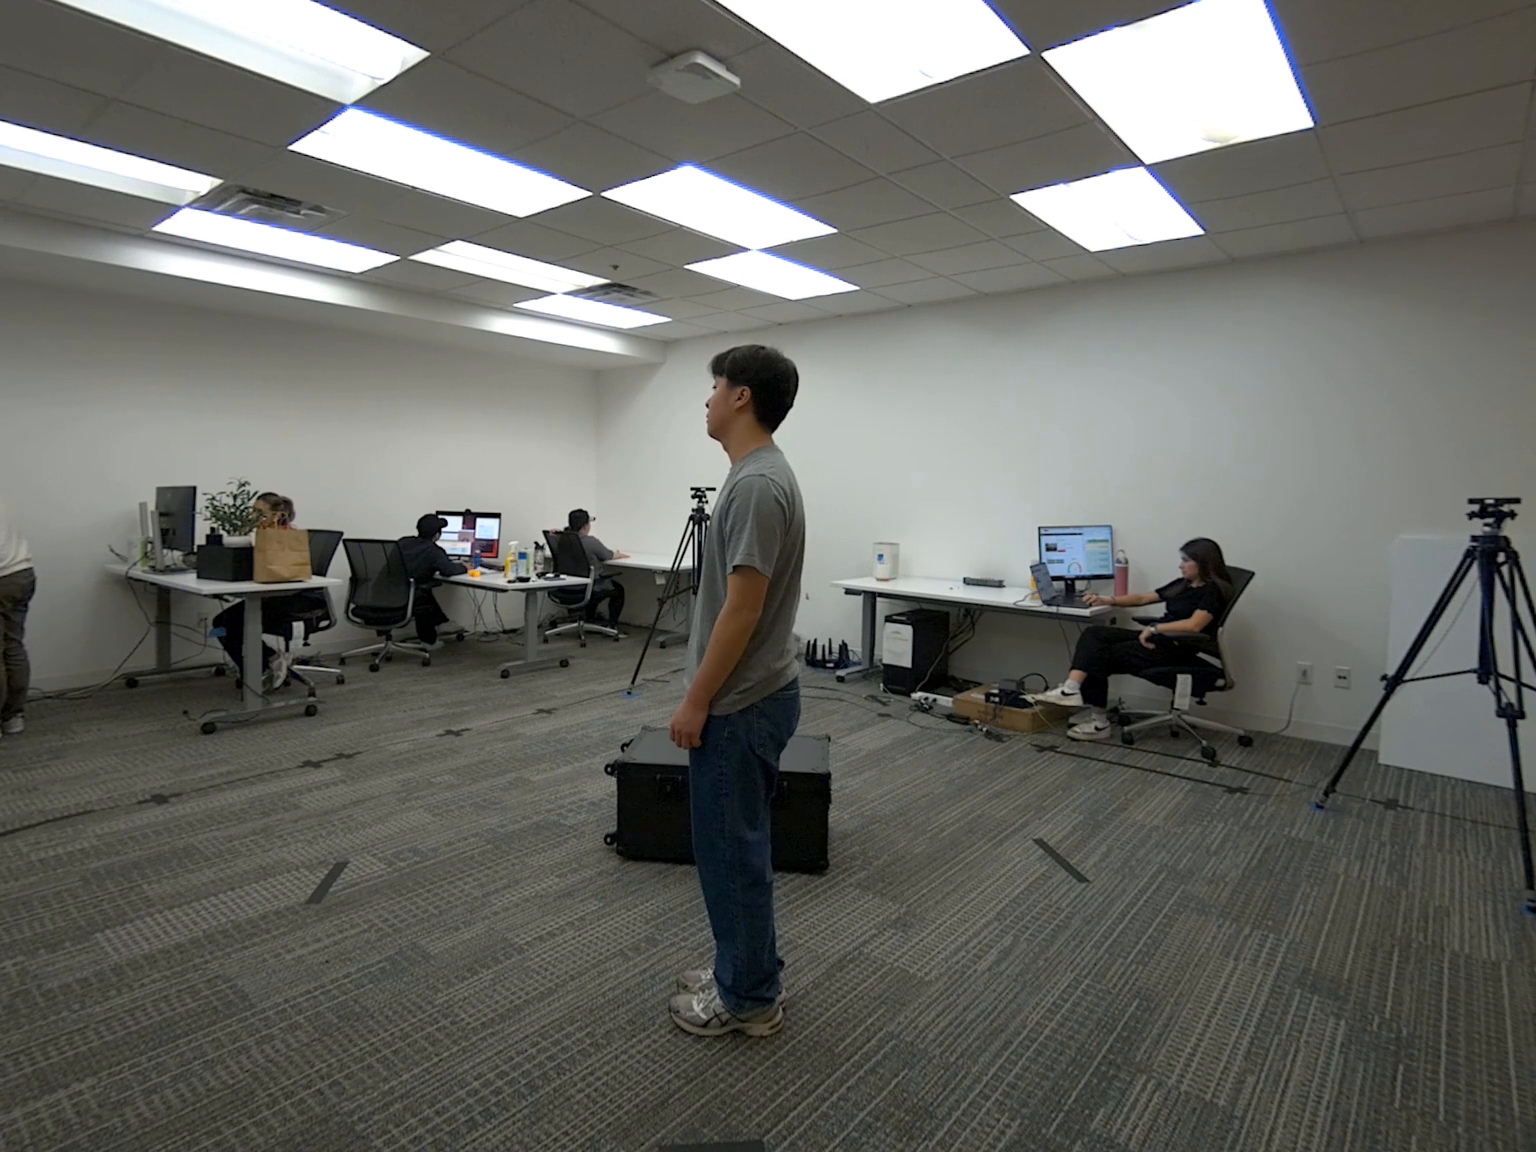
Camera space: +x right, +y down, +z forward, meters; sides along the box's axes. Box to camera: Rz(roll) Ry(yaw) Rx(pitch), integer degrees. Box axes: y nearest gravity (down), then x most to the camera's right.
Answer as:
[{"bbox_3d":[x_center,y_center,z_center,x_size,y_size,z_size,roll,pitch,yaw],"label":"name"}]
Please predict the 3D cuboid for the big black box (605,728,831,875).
[{"bbox_3d":[-0.199,0.852,3.338,0.868,0.395,0.520,2,5,6],"label":"big black box"}]
